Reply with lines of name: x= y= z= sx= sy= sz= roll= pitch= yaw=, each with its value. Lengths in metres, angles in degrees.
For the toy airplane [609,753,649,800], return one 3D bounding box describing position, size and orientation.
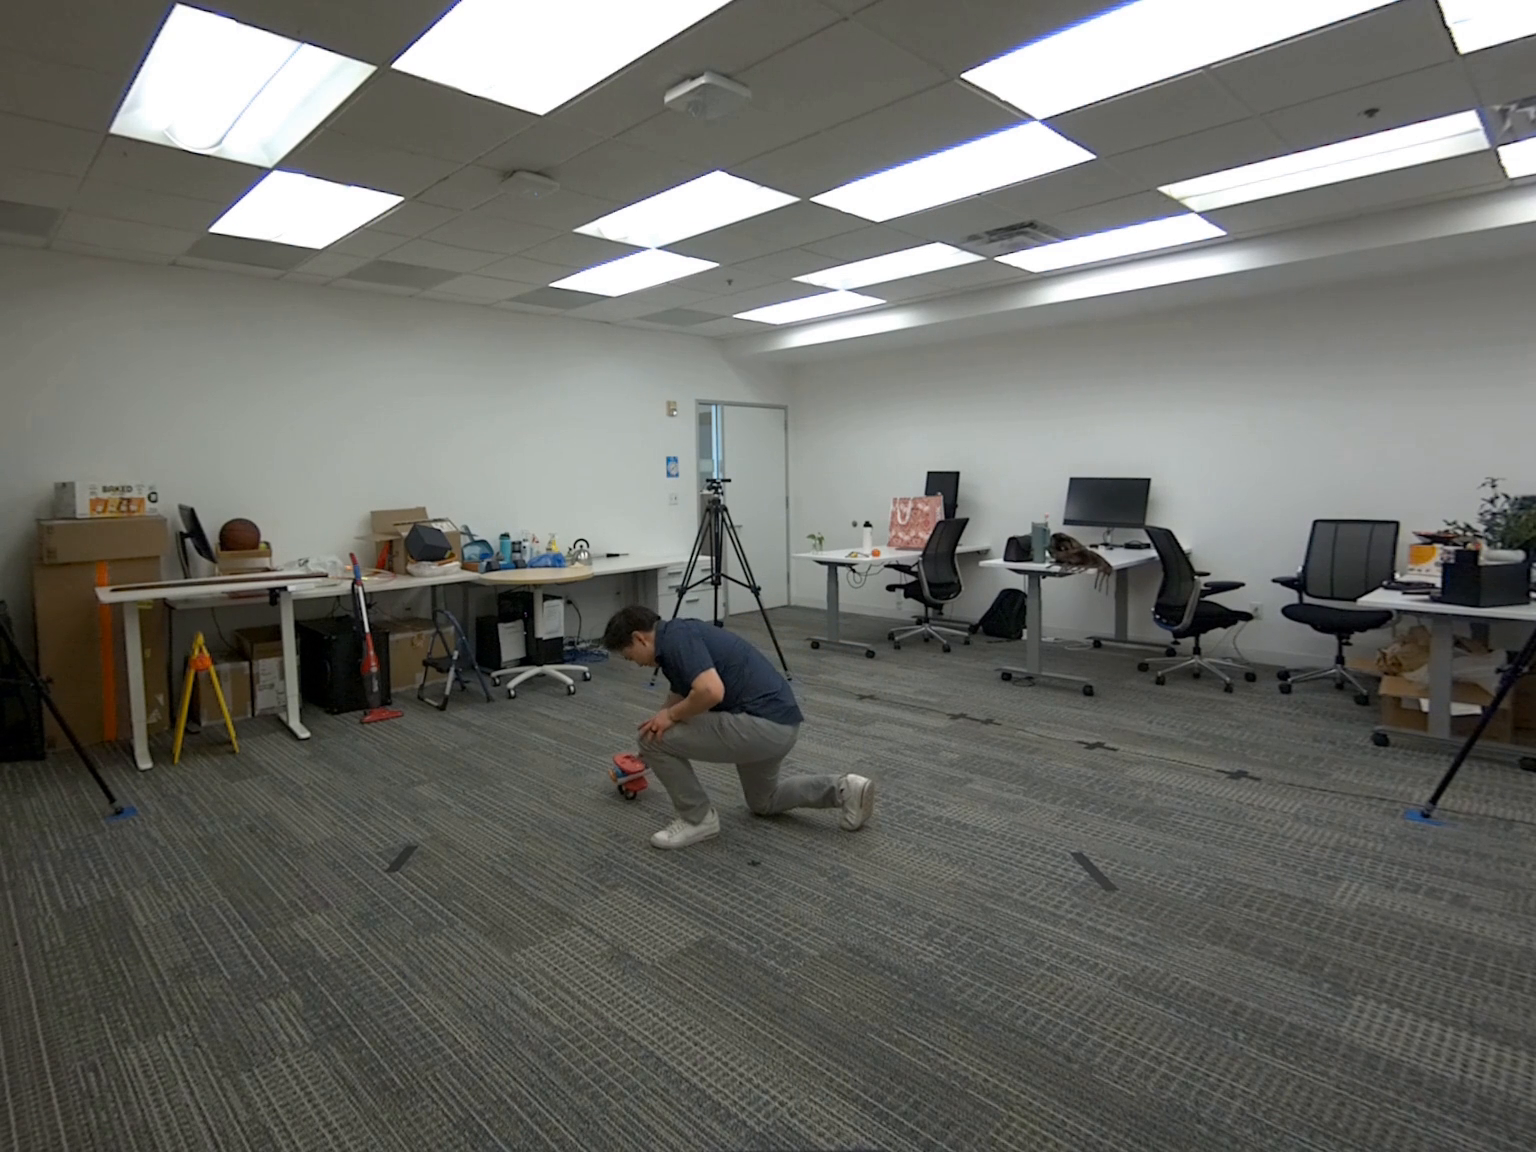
toy airplane: x=-0.590 y=0.876 z=3.837 sx=0.257 sy=0.154 sz=0.258 roll=-10 pitch=19 yaw=36
